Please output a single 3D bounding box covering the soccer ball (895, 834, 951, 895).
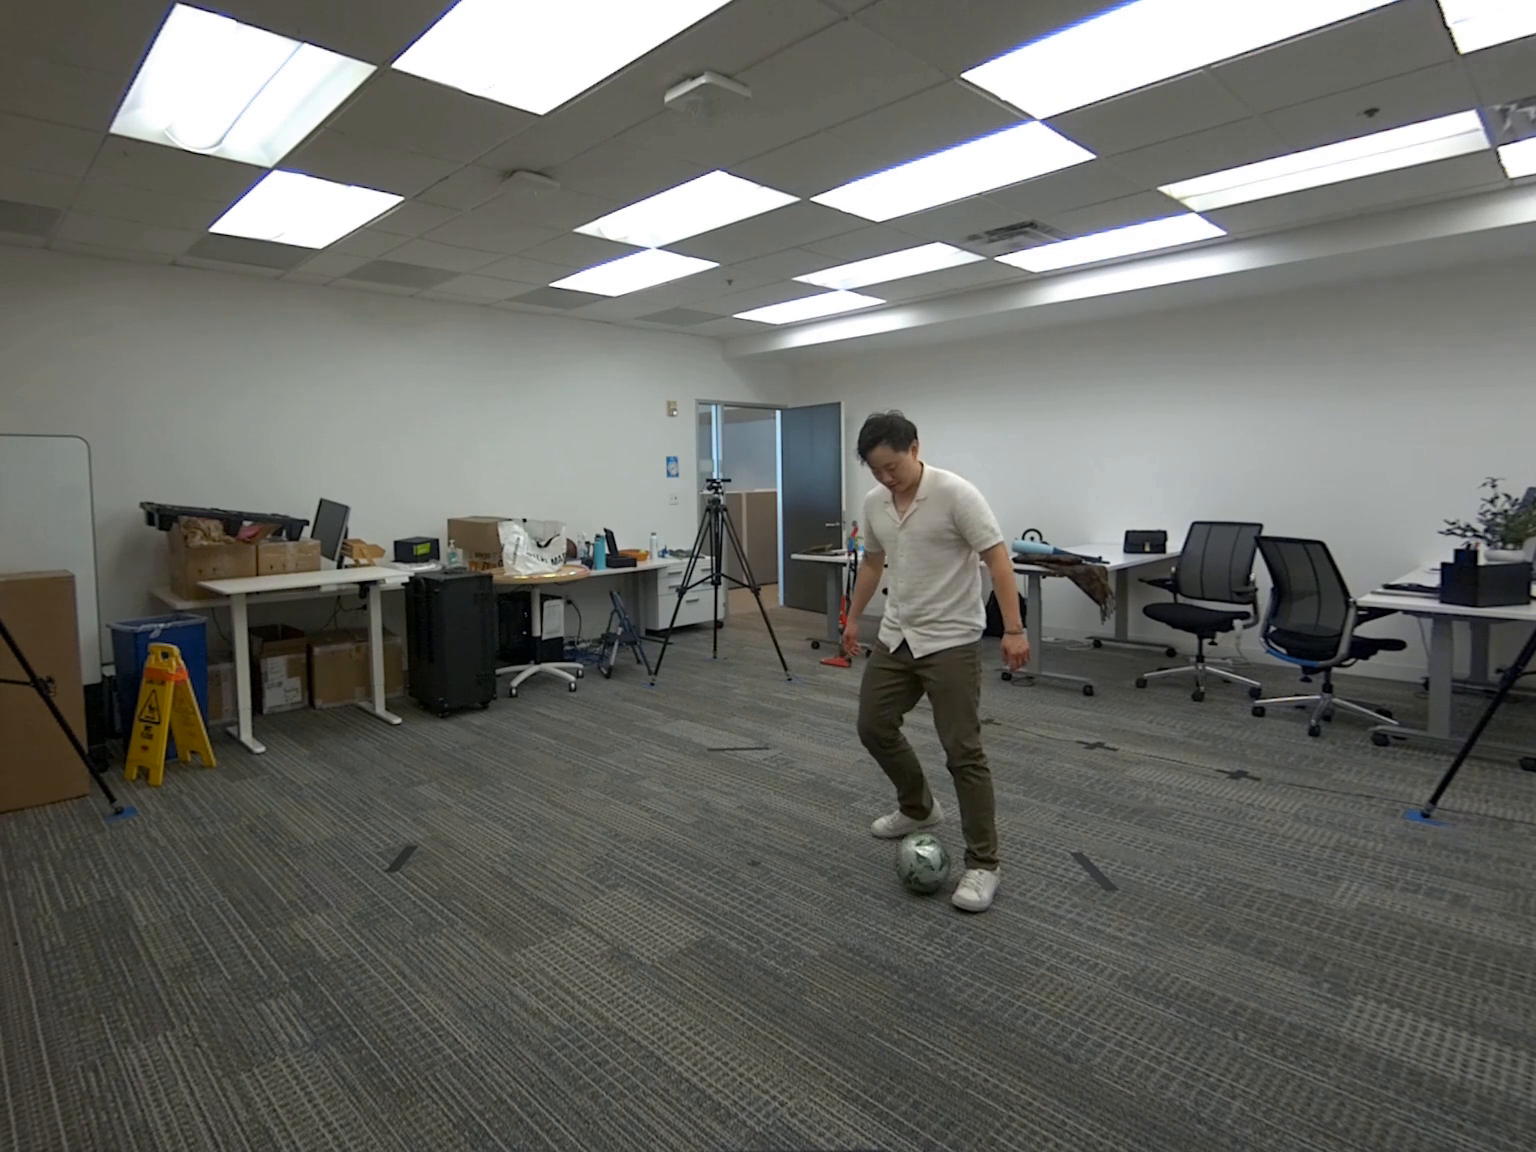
[{"bbox_3d":[0.521,0.967,2.881,0.187,0.187,0.188,-1,5,-2],"label":"soccer ball"}]
